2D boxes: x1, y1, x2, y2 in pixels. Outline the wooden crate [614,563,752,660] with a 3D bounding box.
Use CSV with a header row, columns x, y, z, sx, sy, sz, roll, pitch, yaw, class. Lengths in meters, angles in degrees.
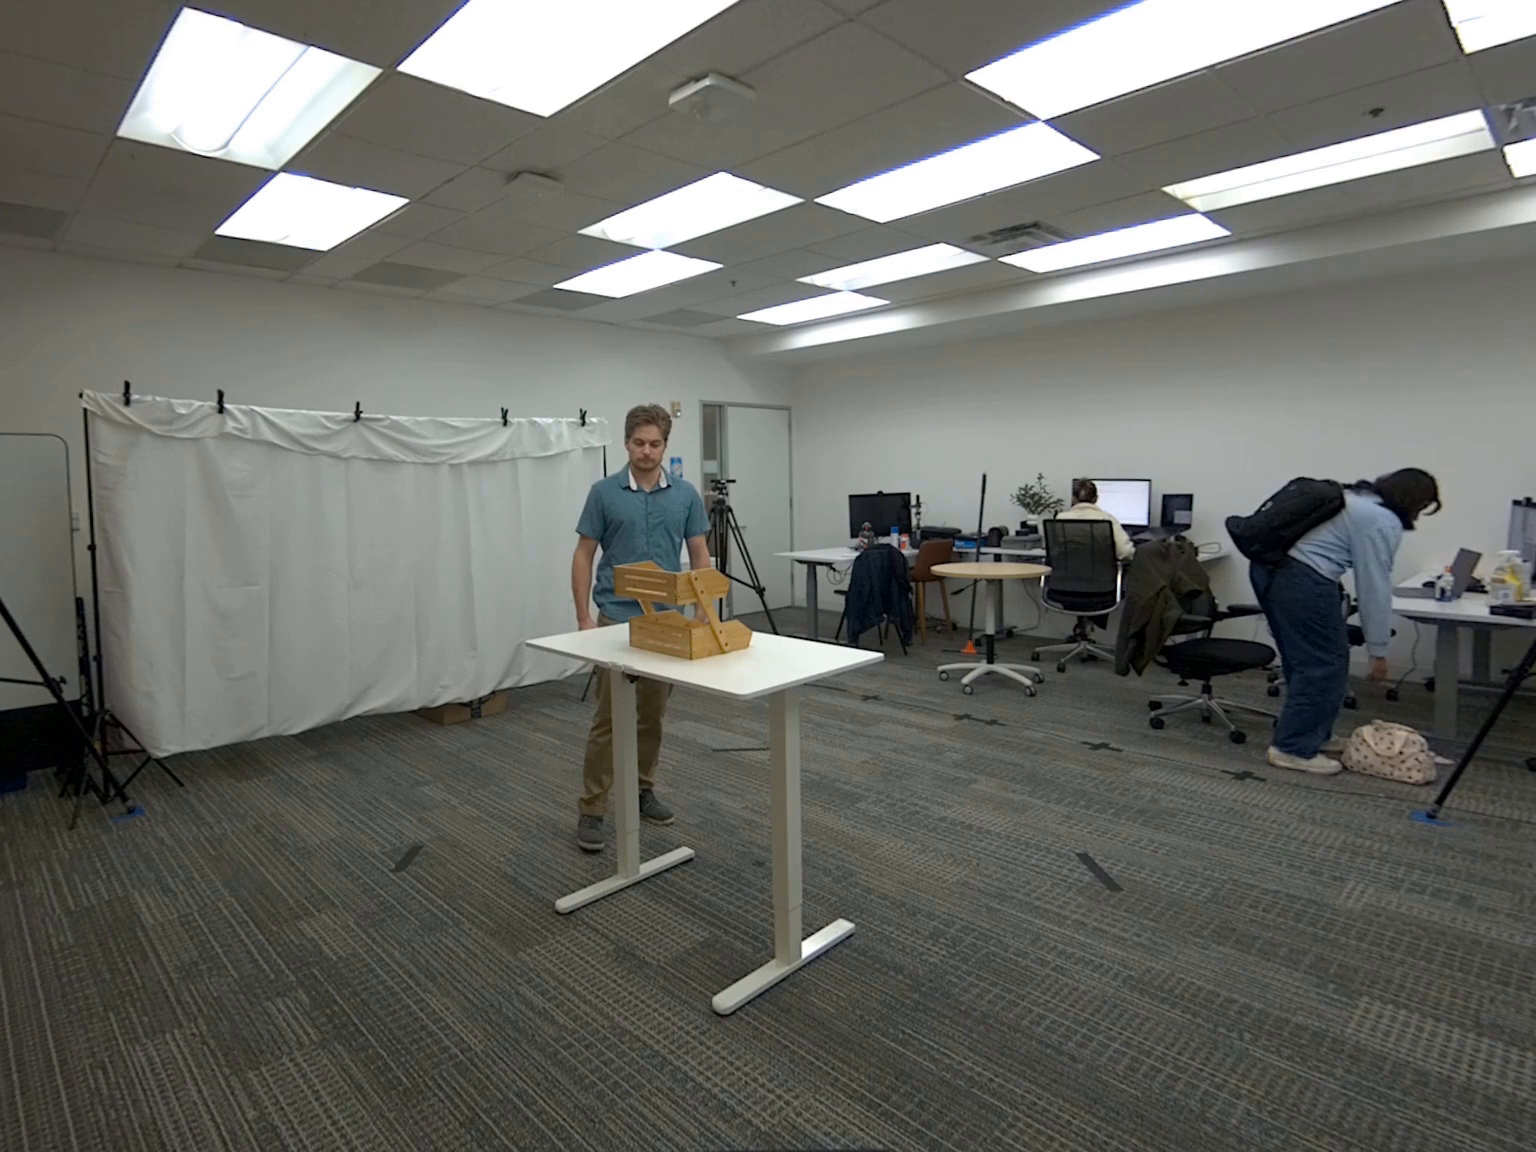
x,y,z,sx,sy,sz,roll,pitch,yaw,class
-0.262,0.093,2.628,0.334,0.272,0.294,4,9,44,wooden crate
